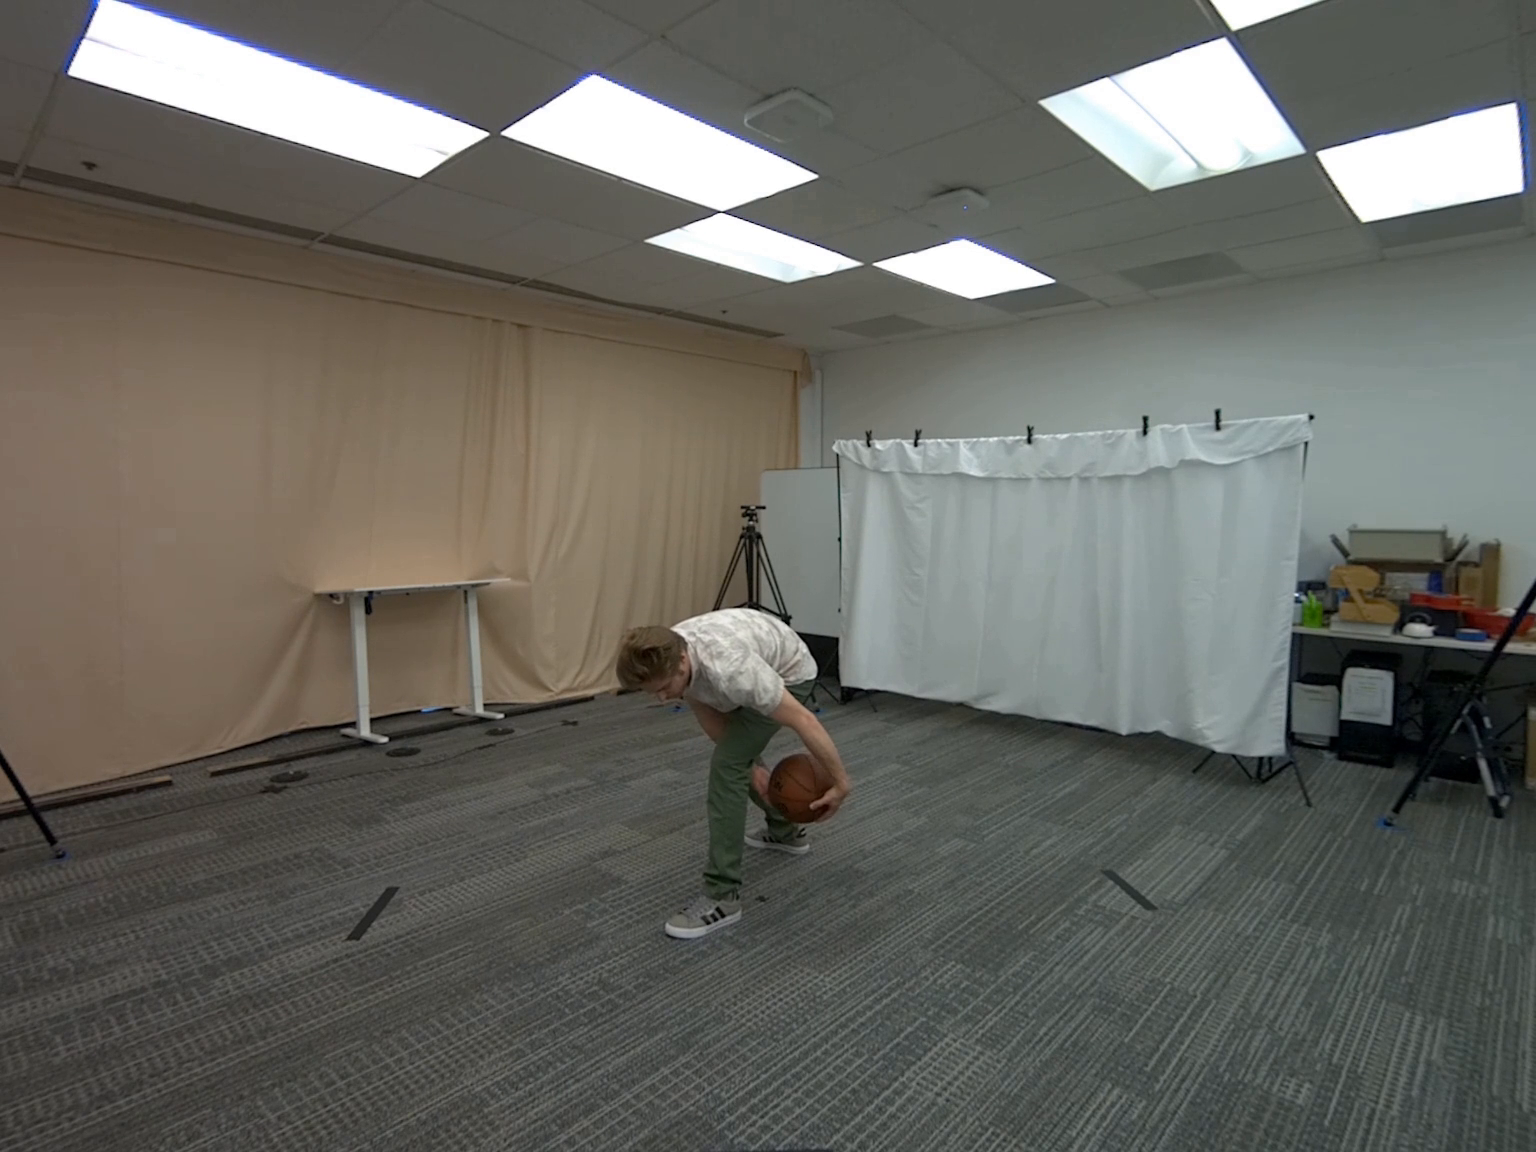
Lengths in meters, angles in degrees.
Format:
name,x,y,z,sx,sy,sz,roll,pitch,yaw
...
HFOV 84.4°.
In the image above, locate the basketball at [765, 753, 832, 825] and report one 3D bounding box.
name,x,y,z,sx,sy,sz,roll,pitch,yaw
basketball,0.117,0.749,2.988,0.236,0.235,0.237,0,4,-2
